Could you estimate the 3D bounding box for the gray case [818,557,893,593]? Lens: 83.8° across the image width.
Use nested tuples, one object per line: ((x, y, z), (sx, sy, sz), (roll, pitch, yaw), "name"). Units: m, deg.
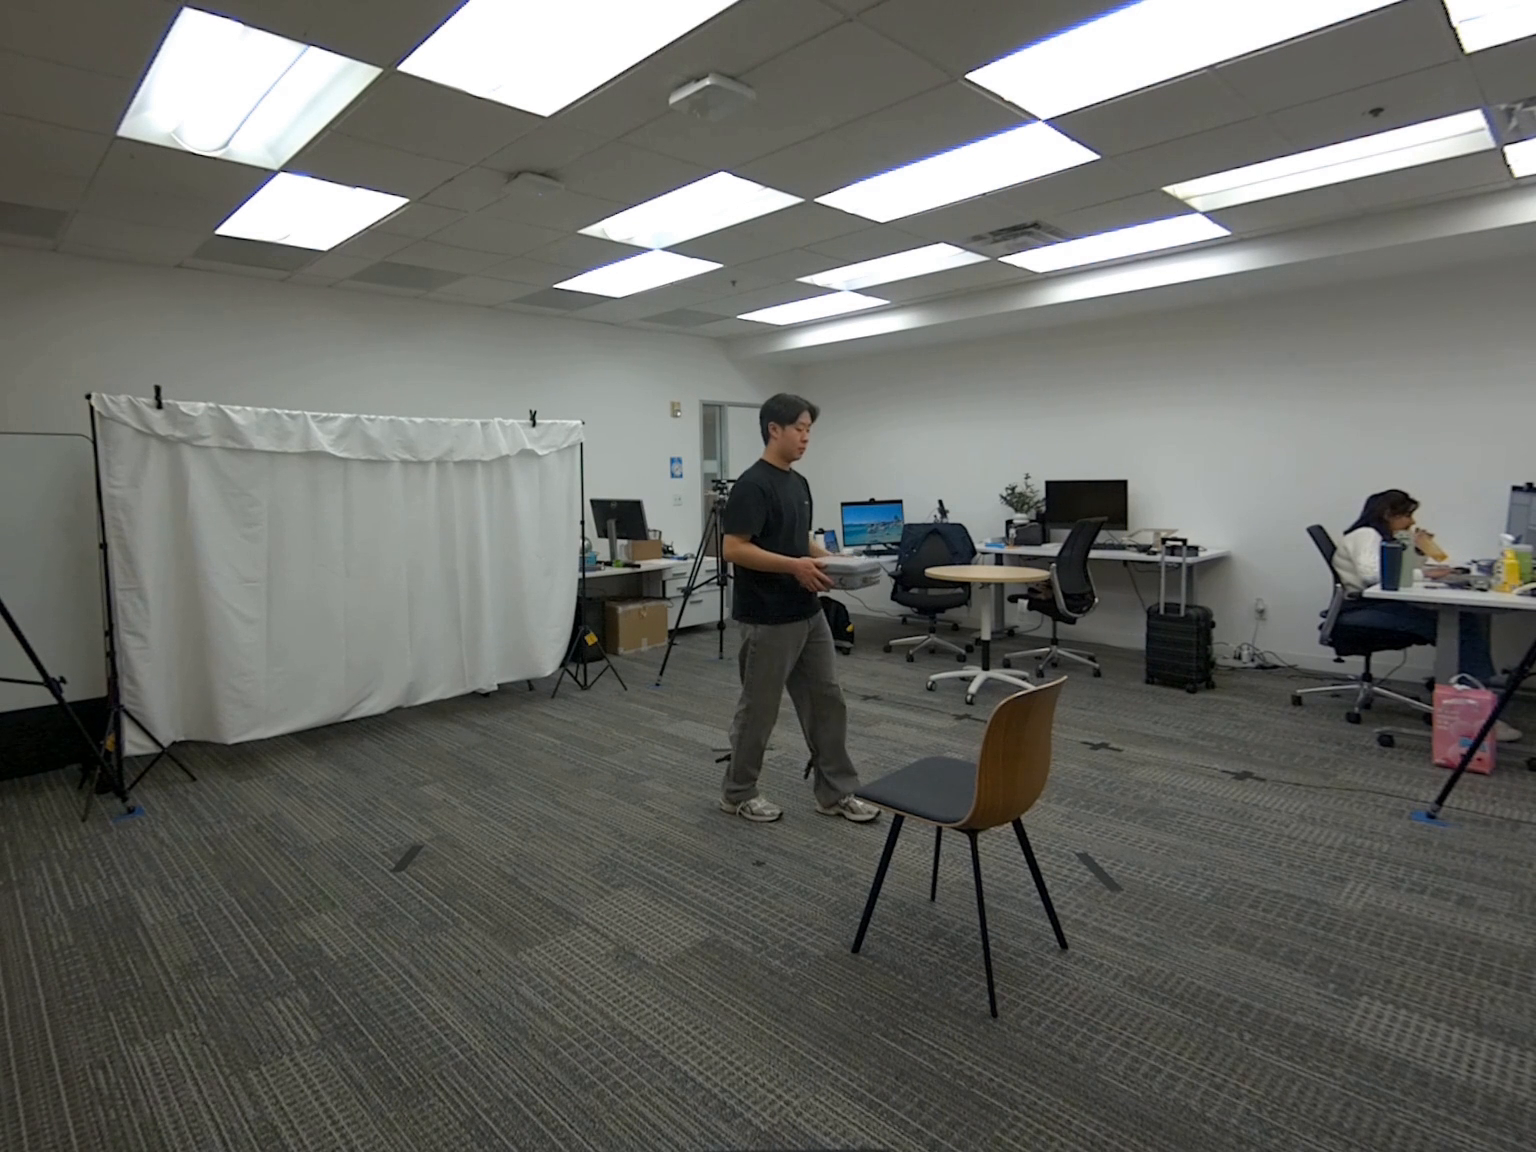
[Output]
((0.299, -0.011, 3.312), (0.294, 0.103, 0.257), (2, 6, 28), "gray case")
